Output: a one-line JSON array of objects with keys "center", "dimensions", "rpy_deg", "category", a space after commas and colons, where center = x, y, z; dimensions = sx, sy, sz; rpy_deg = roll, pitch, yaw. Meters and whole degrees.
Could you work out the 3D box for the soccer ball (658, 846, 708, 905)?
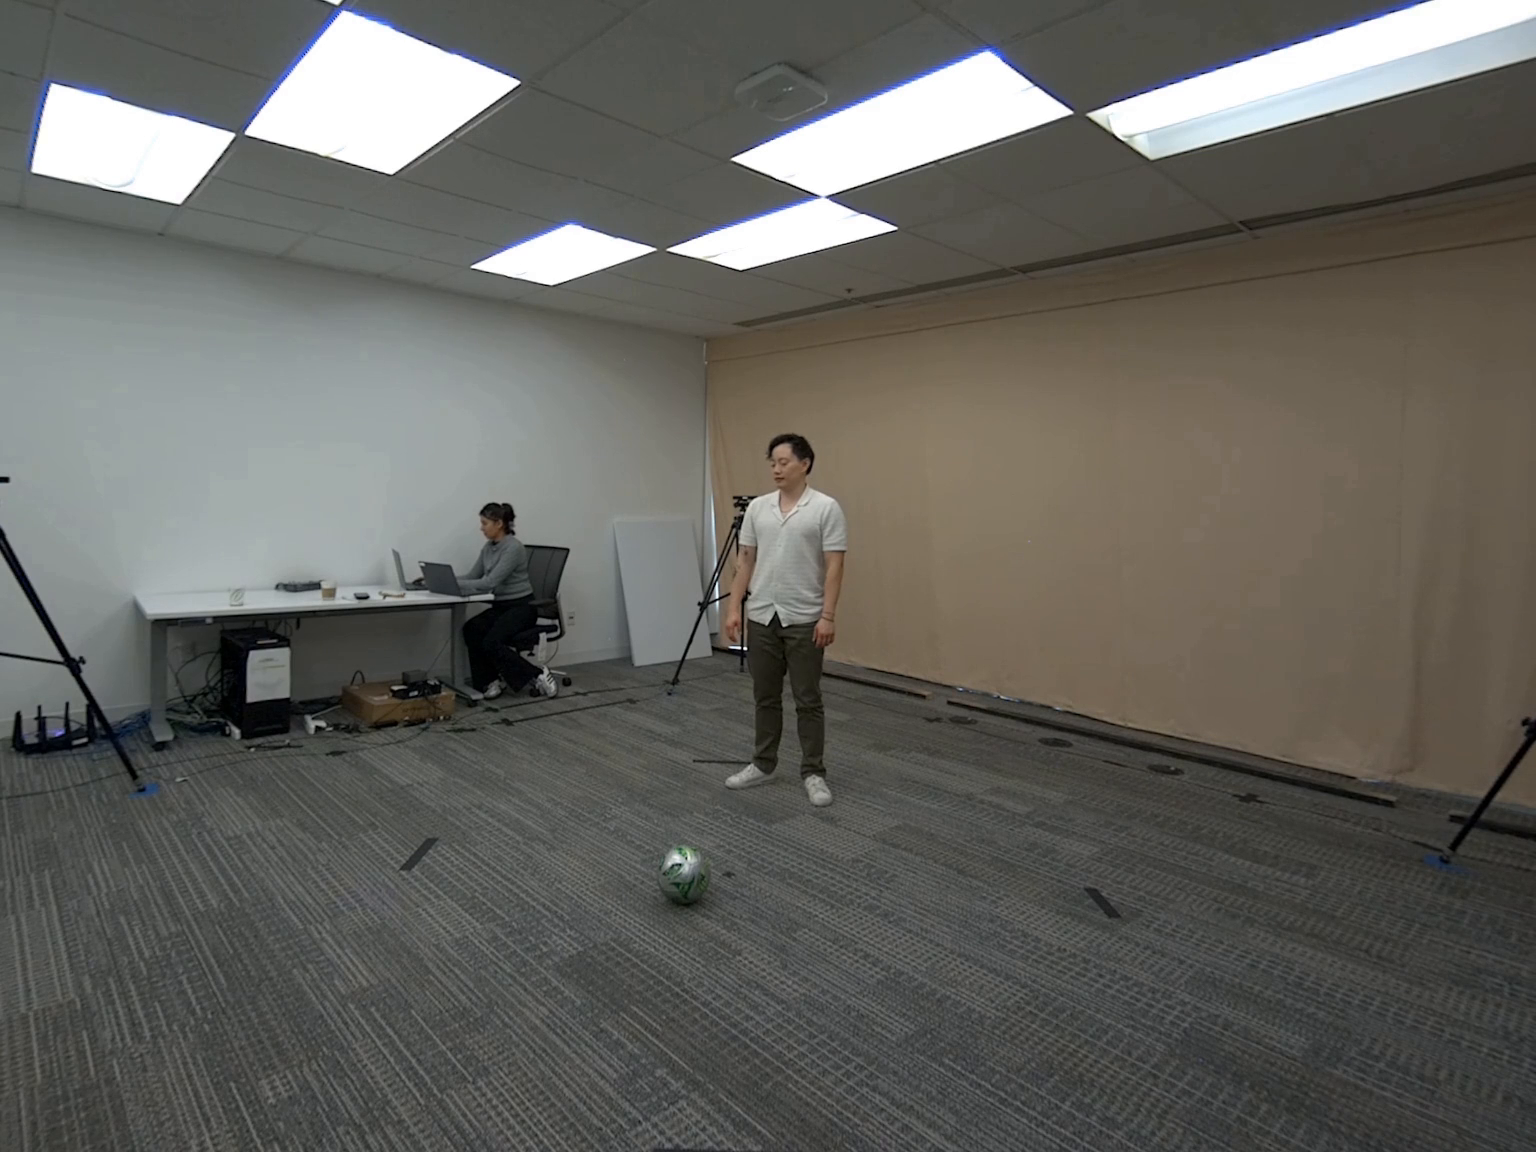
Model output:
[{"center": [-0.296, 1.019, 2.886], "dimensions": [0.187, 0.187, 0.188], "rpy_deg": [1, 4, -1], "category": "soccer ball"}]
